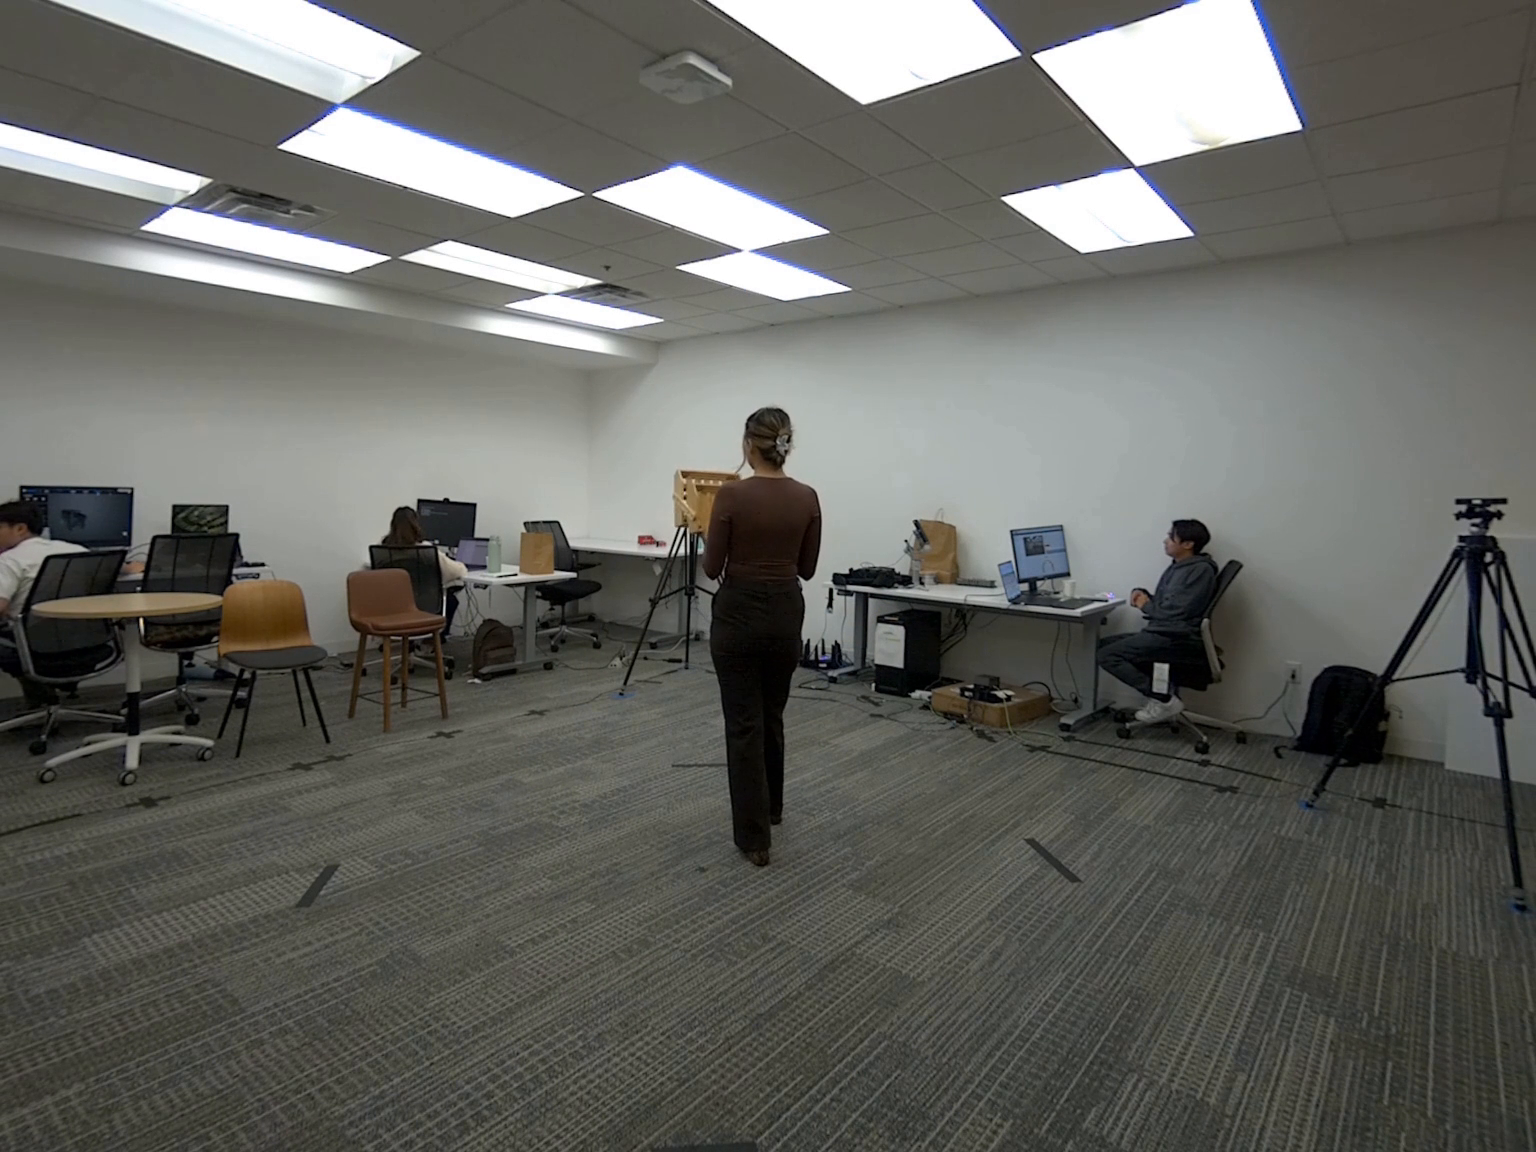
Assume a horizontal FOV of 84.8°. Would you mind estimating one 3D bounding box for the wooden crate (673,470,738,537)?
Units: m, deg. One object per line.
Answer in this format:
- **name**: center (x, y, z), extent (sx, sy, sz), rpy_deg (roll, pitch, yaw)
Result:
- **wooden crate**: center (-0.224, -0.331, 3.663), extent (0.317, 0.304, 0.278), rpy_deg (1, -6, -24)
